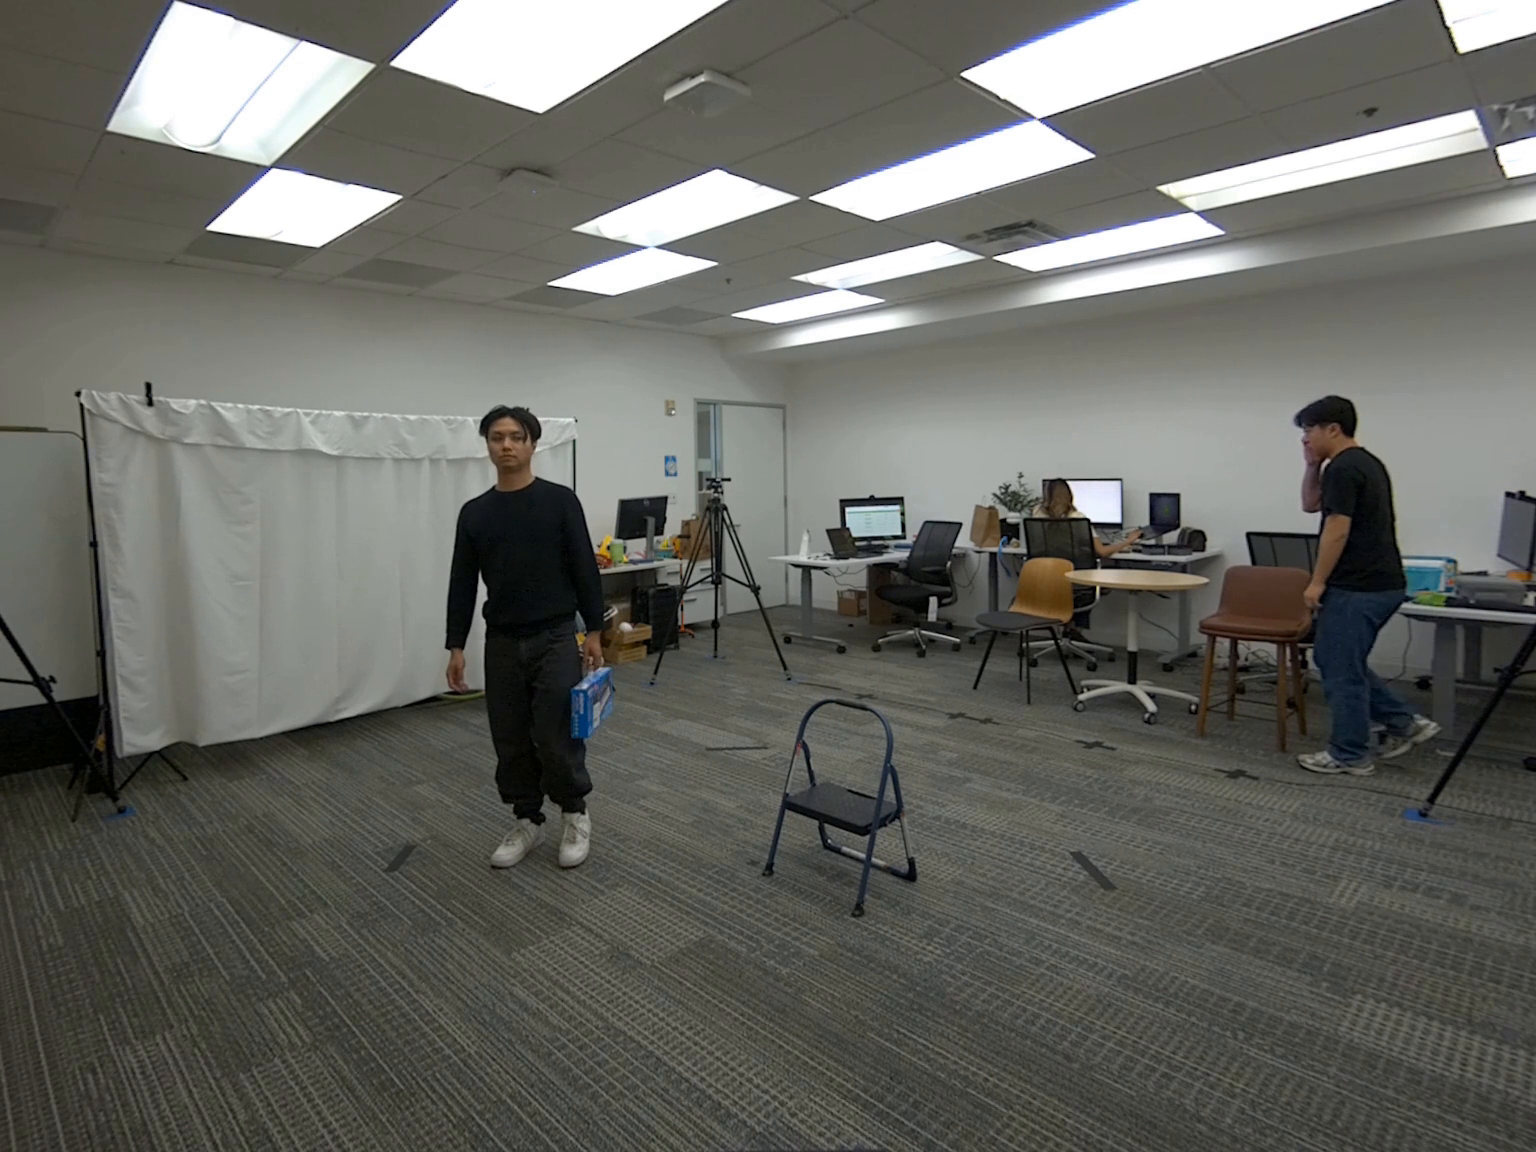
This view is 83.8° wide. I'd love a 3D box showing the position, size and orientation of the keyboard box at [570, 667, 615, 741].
[{"bbox_3d":[-0.647,0.461,3.184,0.059,0.175,0.437,0,4,1],"label":"keyboard box"}]
